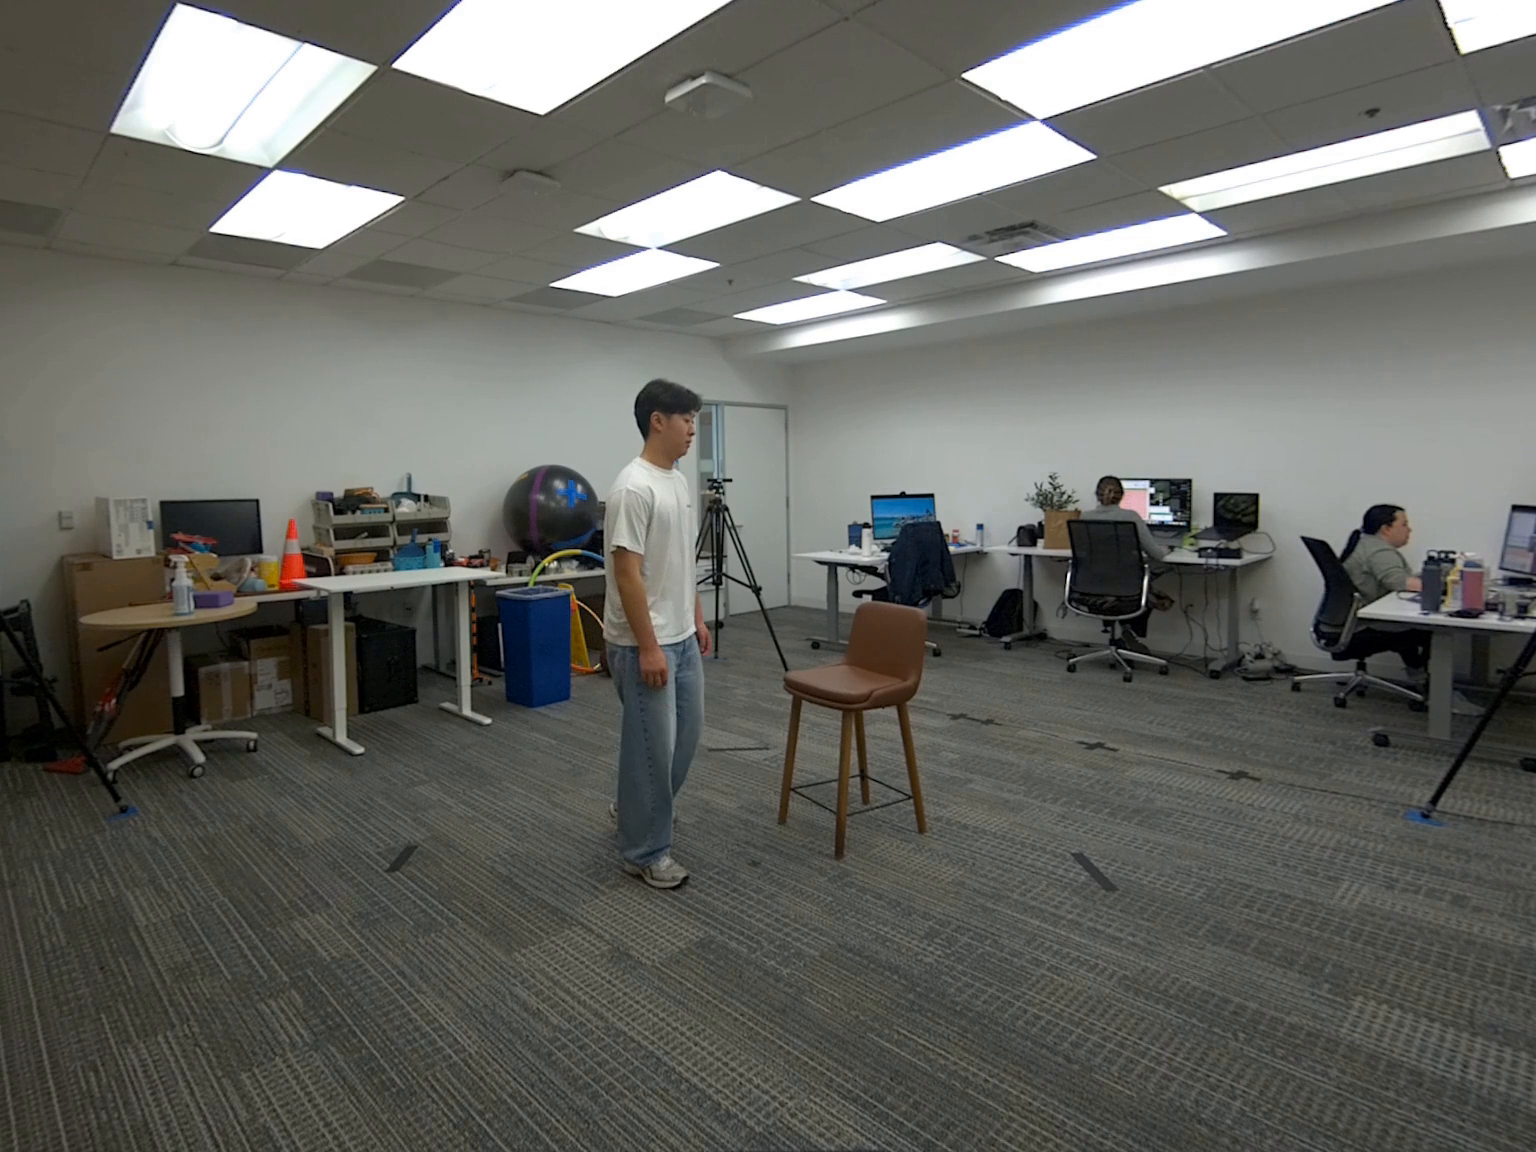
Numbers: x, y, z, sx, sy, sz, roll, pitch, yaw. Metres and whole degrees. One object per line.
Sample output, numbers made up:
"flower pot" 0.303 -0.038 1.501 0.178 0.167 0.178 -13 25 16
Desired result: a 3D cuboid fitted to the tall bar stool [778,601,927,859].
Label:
"tall bar stool" 0.331 0.568 3.389 0.456 0.887 0.469 -1 3 -32
